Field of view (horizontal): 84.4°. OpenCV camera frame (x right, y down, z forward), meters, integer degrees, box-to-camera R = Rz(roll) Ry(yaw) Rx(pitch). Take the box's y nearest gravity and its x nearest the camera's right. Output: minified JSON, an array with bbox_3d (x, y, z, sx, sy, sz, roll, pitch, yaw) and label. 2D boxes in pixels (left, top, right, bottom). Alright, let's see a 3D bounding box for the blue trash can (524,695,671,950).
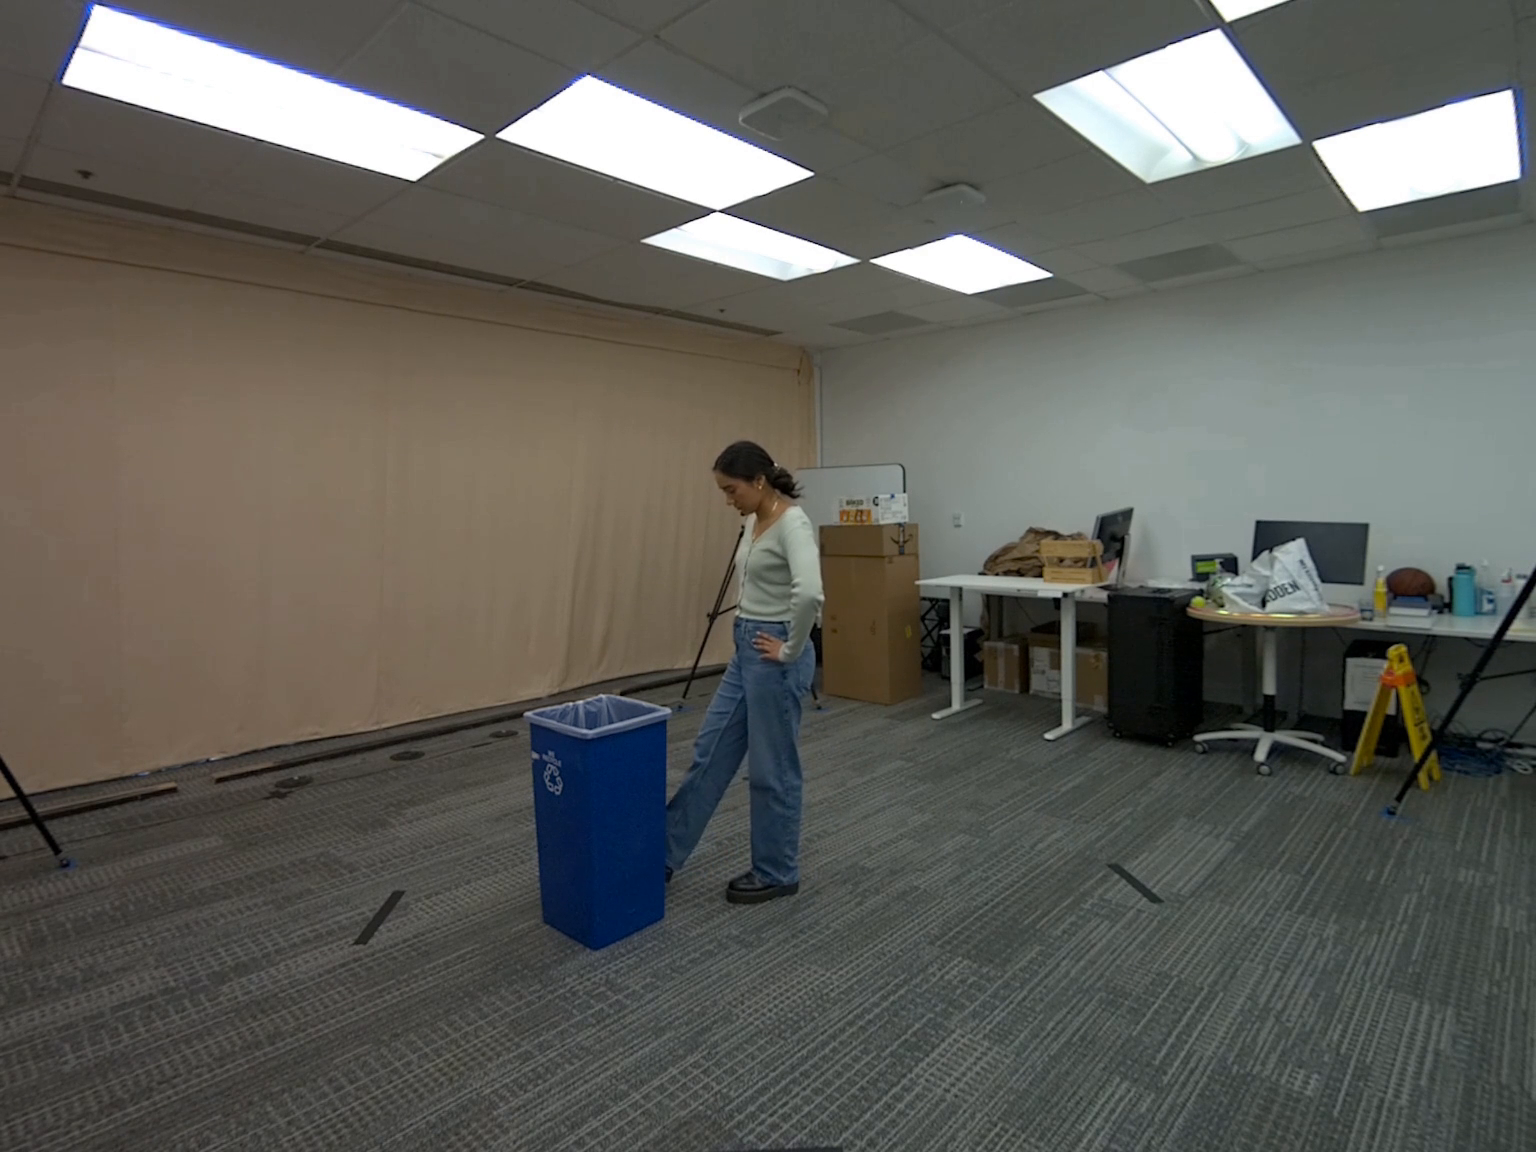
[{"bbox_3d":[-0.567,0.808,2.823,0.390,0.712,0.363,2,5,42],"label":"blue trash can"}]
